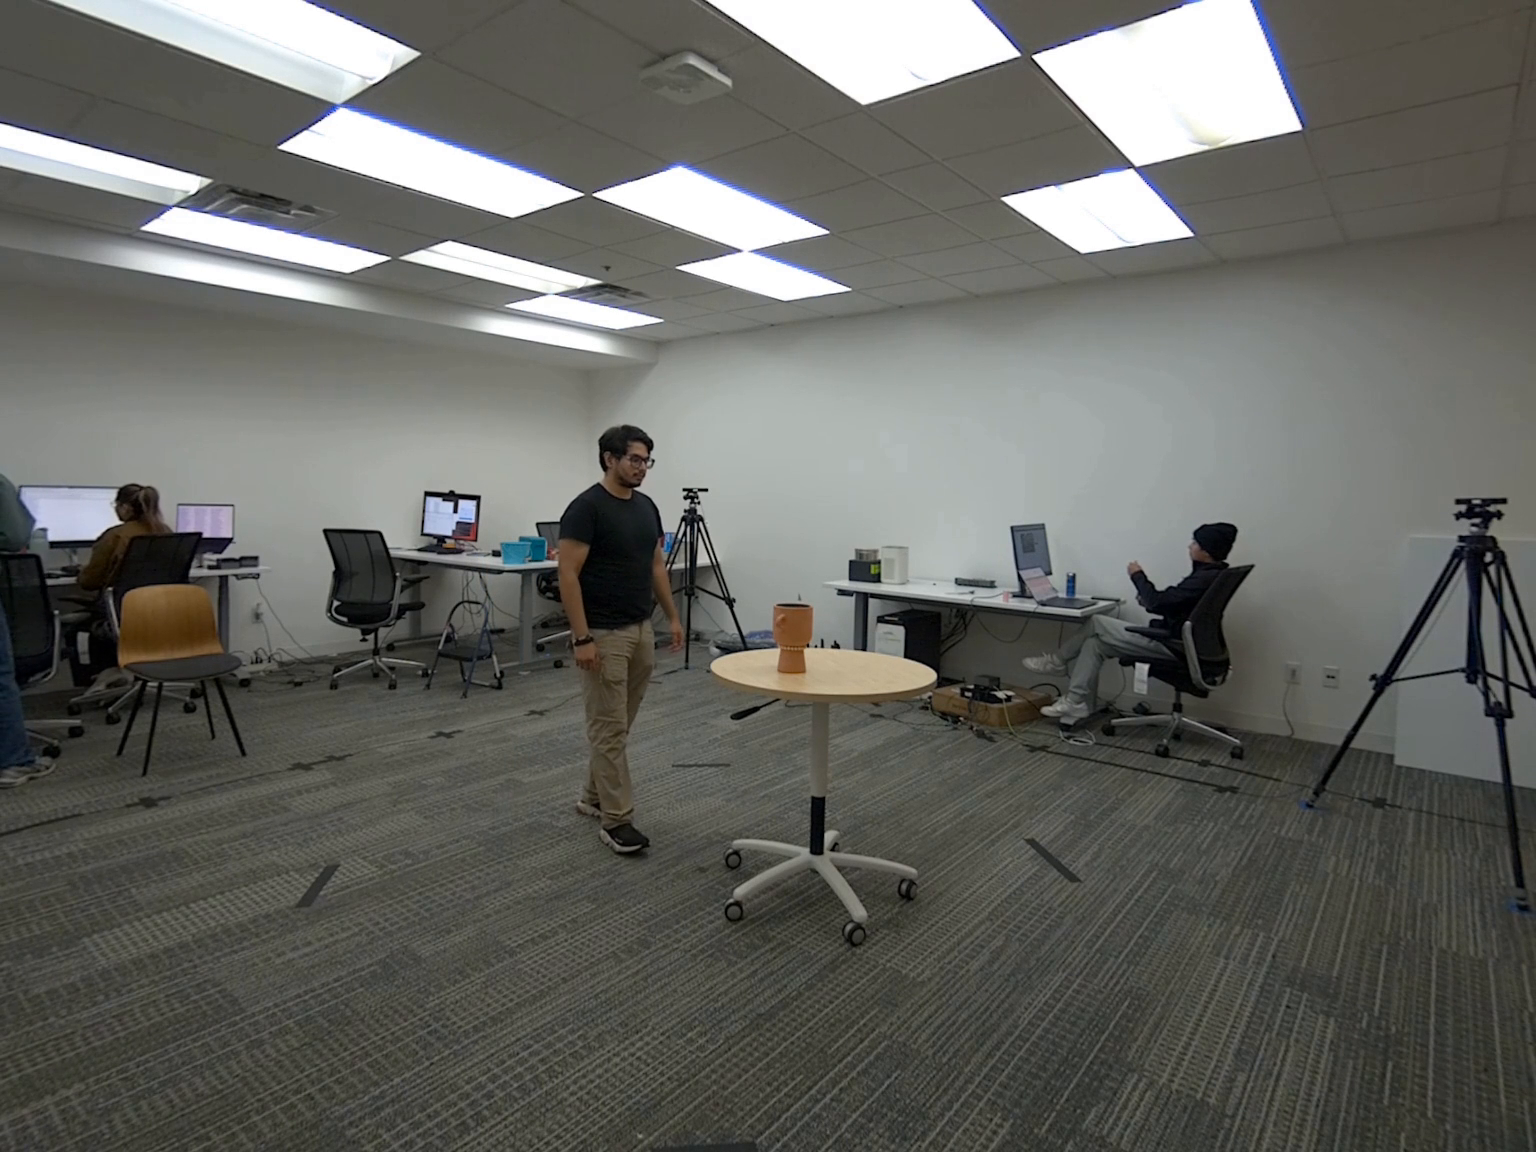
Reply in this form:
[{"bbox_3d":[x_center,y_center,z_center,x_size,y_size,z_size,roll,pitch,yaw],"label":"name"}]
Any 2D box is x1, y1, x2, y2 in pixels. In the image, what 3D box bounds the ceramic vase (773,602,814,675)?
[{"bbox_3d":[0.079,0.208,2.857,0.156,0.219,0.137,-1,4,-16],"label":"ceramic vase"}]
